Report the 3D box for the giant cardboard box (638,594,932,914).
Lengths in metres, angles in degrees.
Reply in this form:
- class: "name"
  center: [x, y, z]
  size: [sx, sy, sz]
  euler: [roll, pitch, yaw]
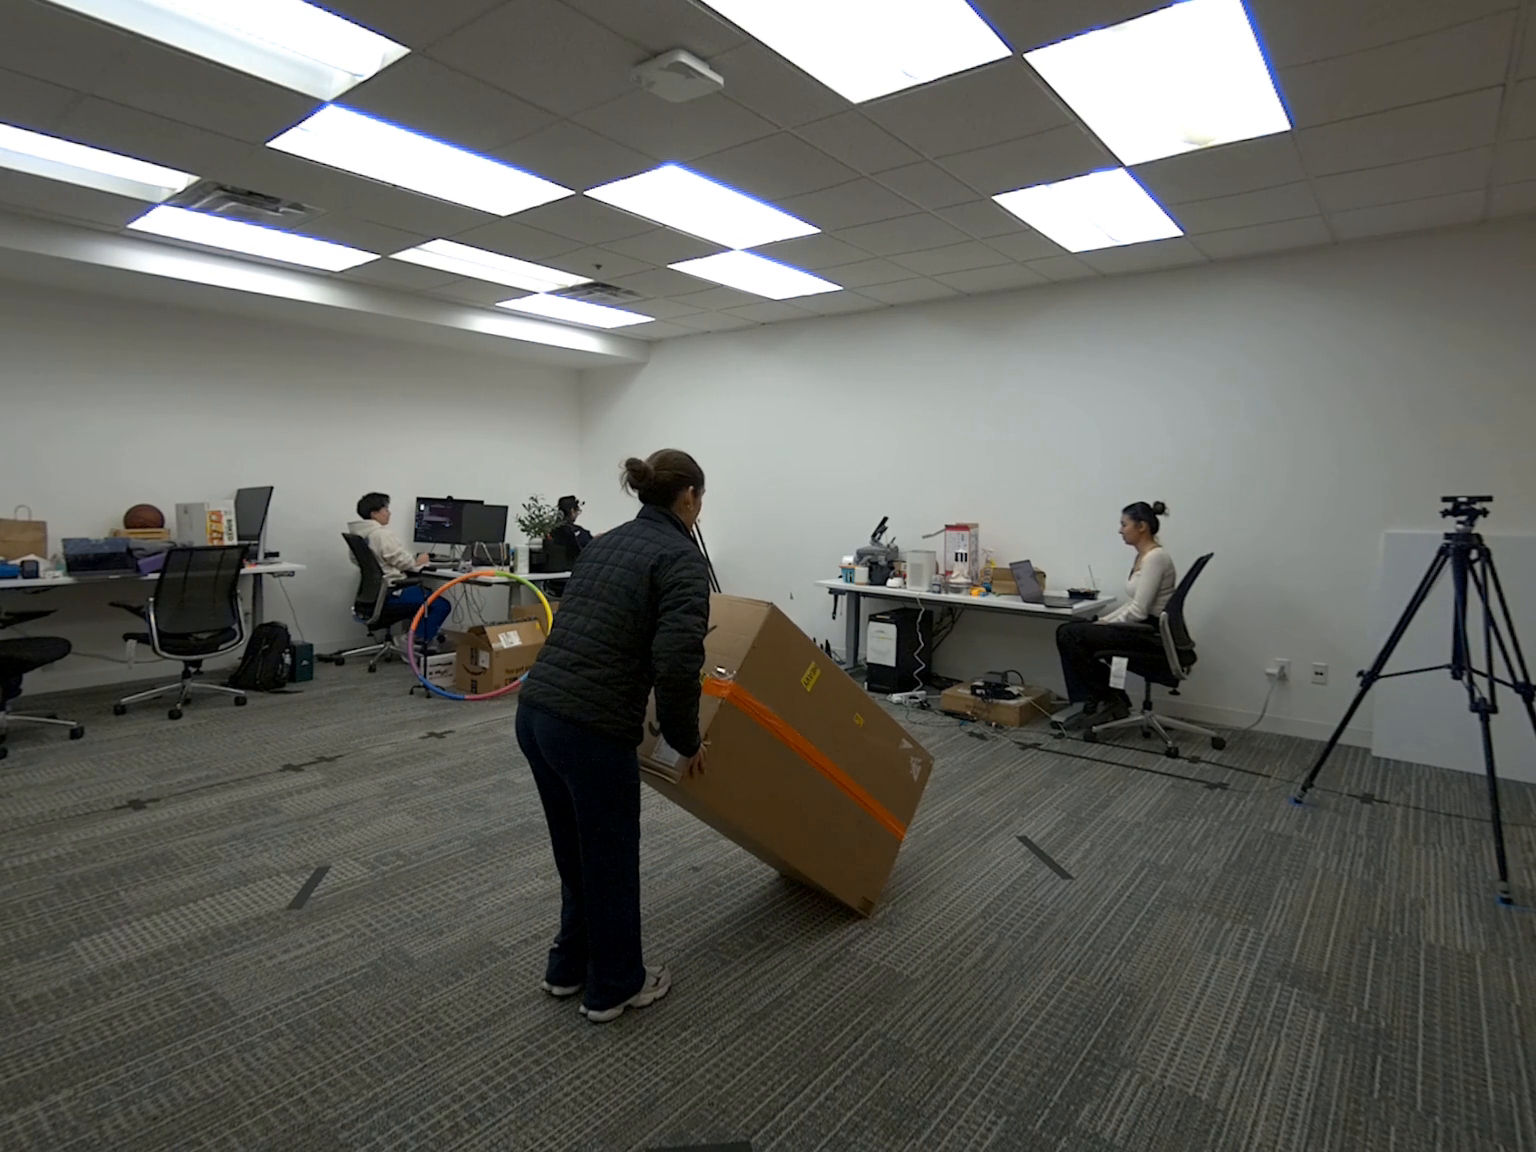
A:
- class: "giant cardboard box"
  center: [0.036, 0.570, 2.755]
  size: [0.462, 0.587, 0.986]
  euler: [7, -30, 48]
